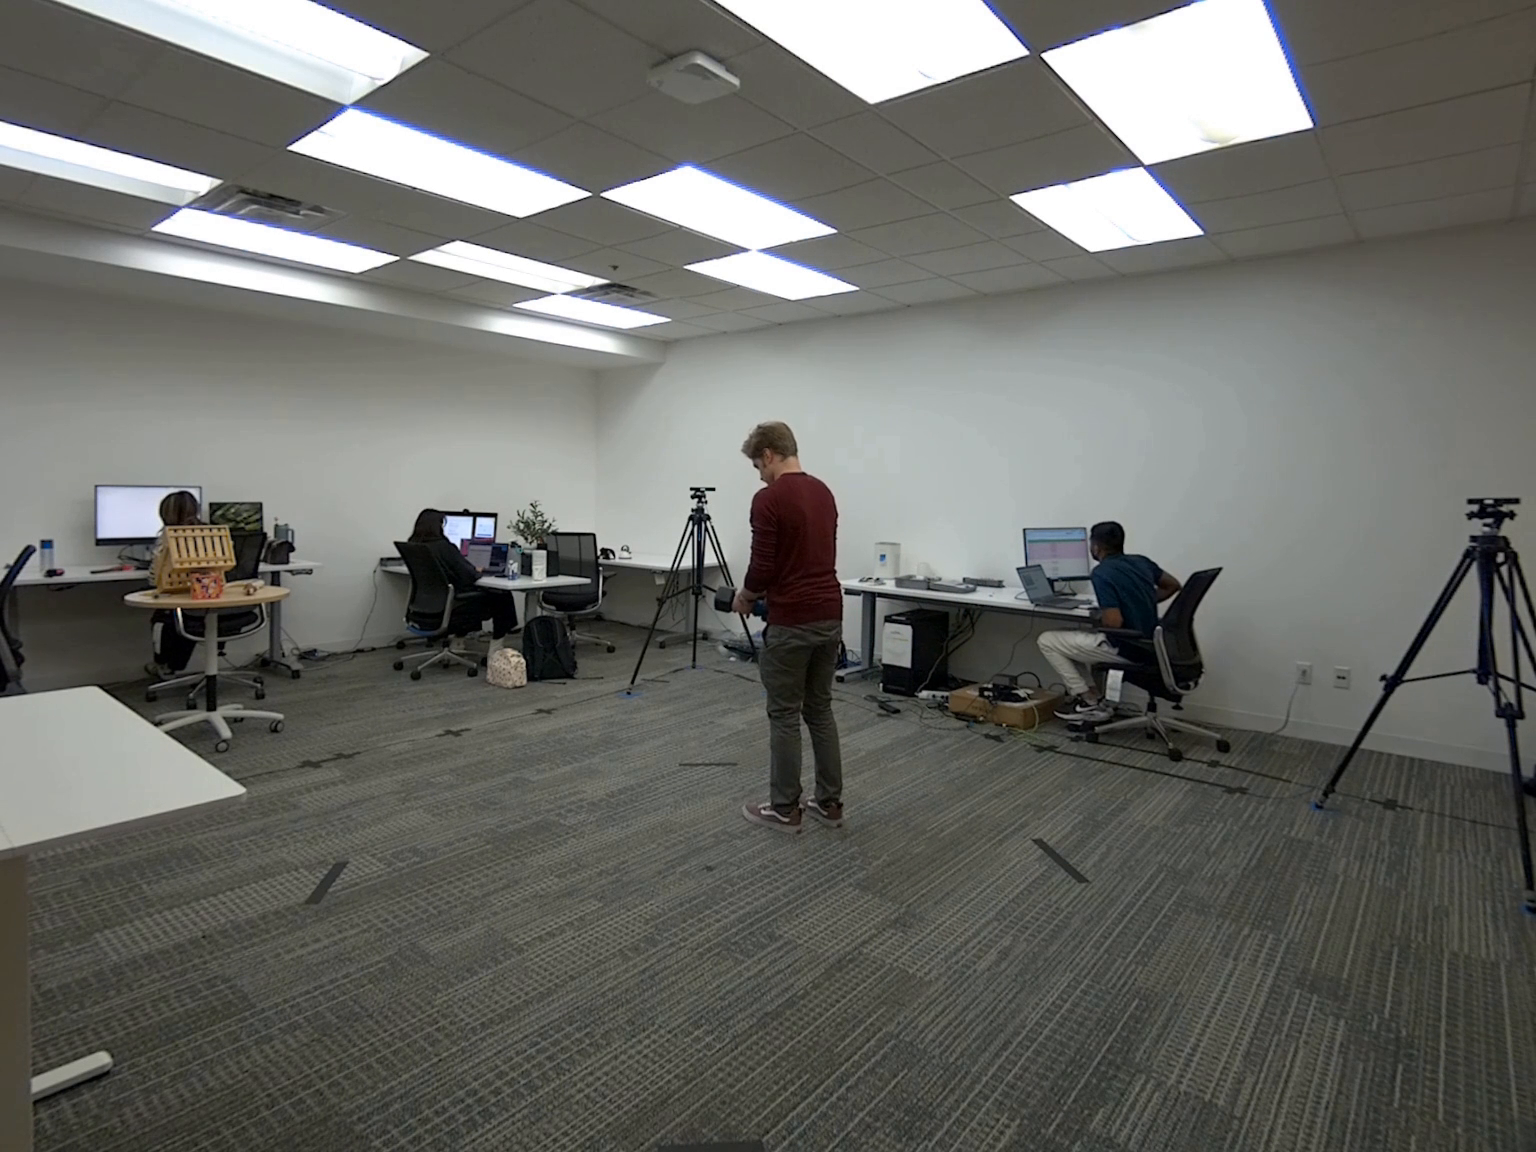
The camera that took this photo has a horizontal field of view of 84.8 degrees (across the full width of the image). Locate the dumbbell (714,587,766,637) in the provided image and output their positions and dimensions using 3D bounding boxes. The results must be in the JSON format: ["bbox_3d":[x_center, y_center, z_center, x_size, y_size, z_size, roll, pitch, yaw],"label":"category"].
[{"bbox_3d":[-0.087,0.119,3.676,0.299,0.124,0.105,12,-27,15],"label":"dumbbell"}]
